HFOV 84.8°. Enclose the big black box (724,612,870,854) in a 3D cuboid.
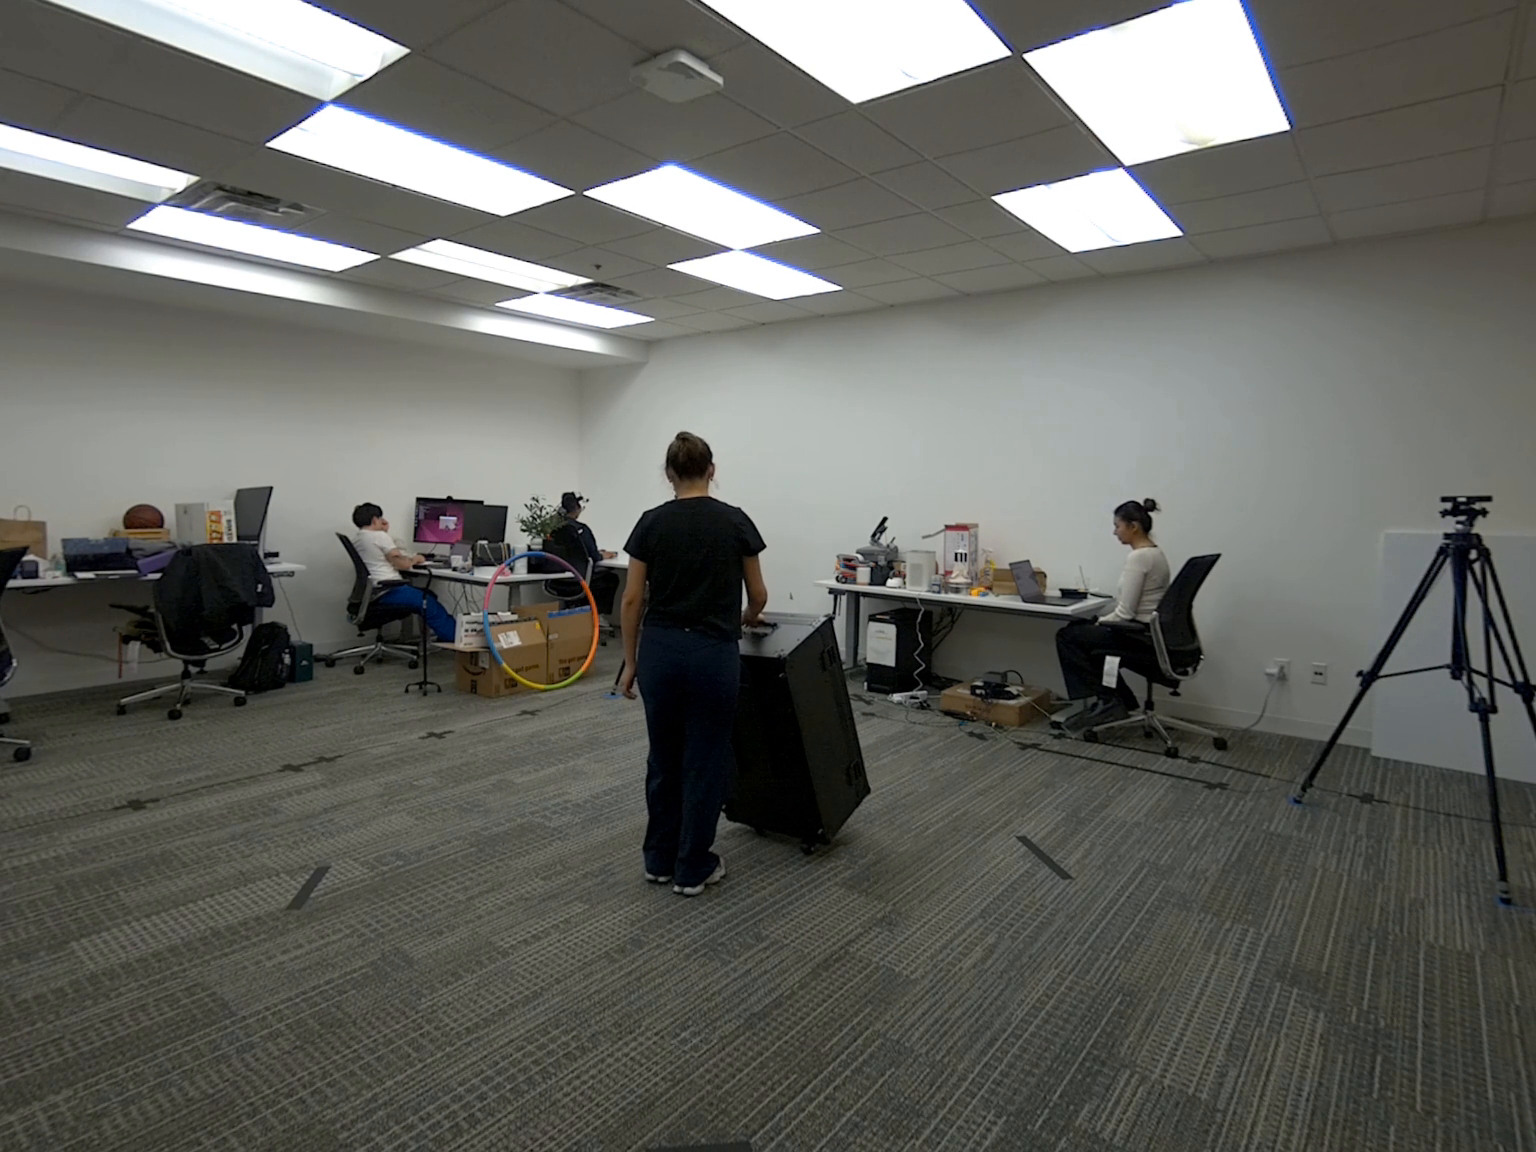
[{"bbox_3d":[0.041,0.552,3.333,0.537,0.846,0.391,0,20,39],"label":"big black box"}]
